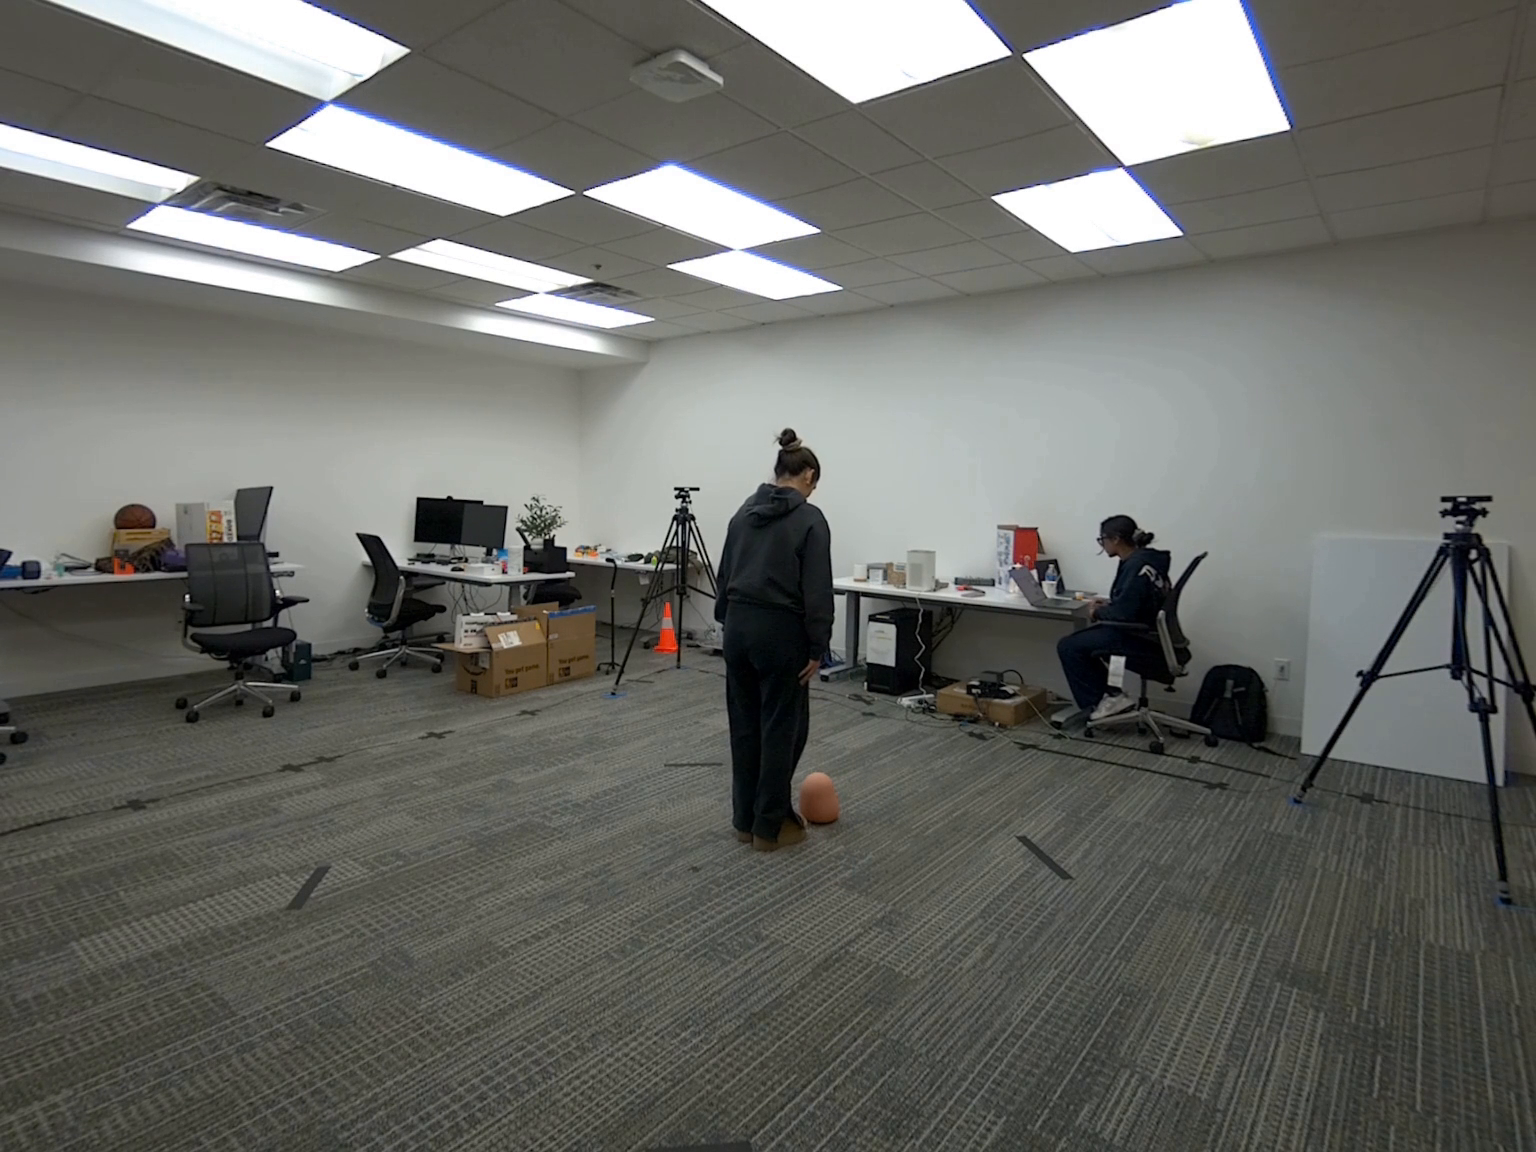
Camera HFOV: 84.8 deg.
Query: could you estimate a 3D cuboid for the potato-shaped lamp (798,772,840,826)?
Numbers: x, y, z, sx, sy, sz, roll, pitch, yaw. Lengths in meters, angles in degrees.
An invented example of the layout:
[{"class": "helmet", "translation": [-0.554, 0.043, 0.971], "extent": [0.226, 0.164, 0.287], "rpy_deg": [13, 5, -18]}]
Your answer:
[{"class": "potato-shaped lamp", "translation": [0.208, 0.924, 3.593], "extent": [0.166, 0.197, 0.170], "rpy_deg": [-5, 5, -43]}]
